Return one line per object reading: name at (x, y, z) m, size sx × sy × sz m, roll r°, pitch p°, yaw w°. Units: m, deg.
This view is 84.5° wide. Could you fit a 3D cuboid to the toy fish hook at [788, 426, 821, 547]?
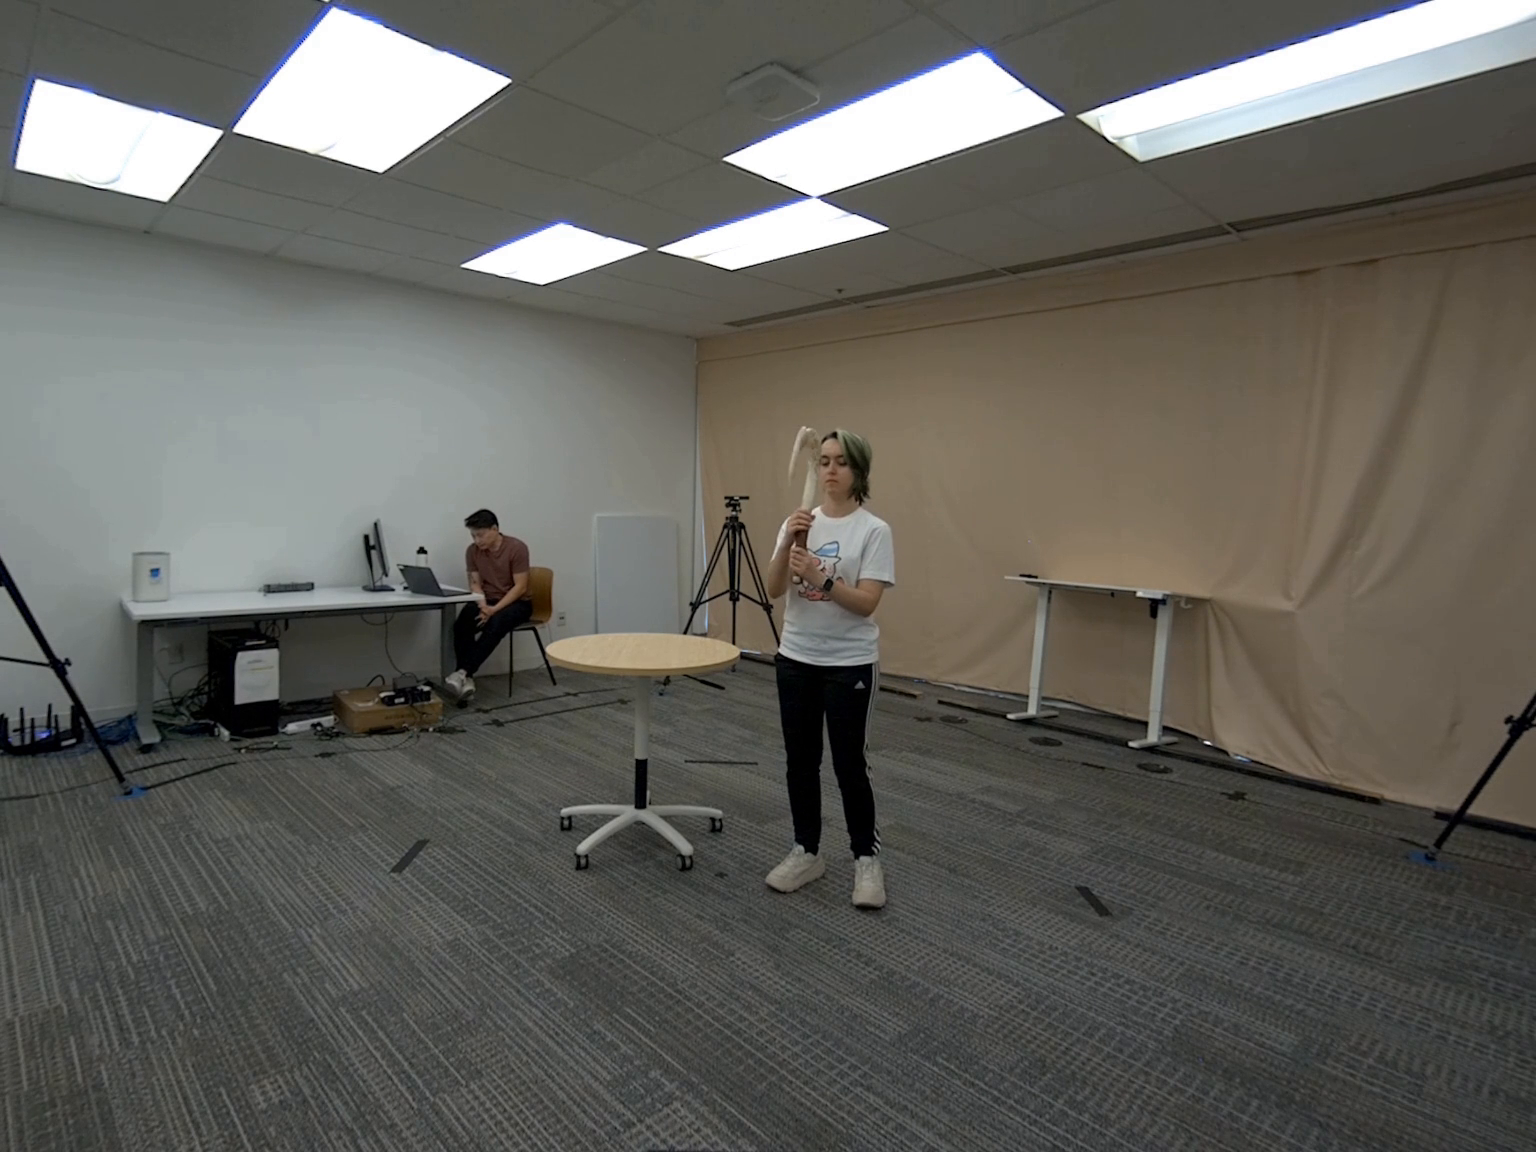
toy fish hook at (0.109, -0.219, 2.684) m, size 0.049 × 0.504 × 0.220 m, roll 4°, pitch 6°, yaw 28°
